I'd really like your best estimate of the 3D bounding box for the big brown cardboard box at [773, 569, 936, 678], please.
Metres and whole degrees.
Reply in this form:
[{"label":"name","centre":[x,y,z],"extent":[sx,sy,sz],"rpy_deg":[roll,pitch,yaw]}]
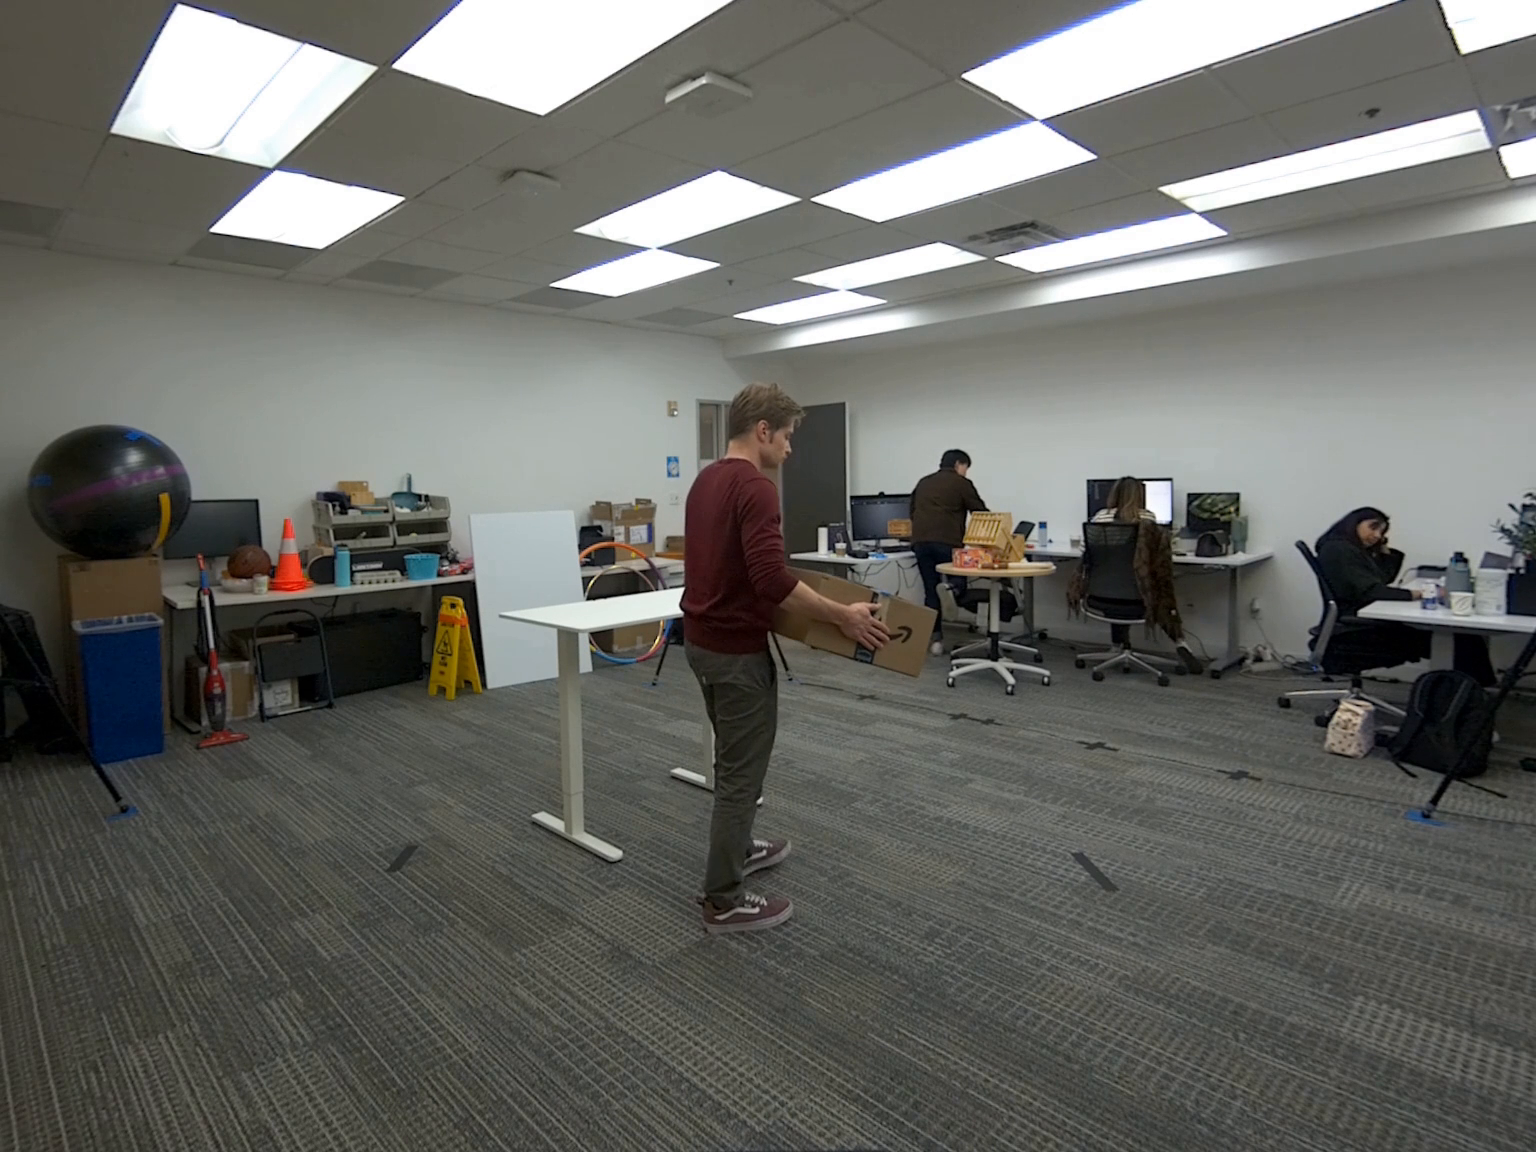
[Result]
[{"label":"big brown cardboard box","centre":[0.197,0.124,2.811],"extent":[0.407,0.233,0.603],"rpy_deg":[17,-1,-24]}]
